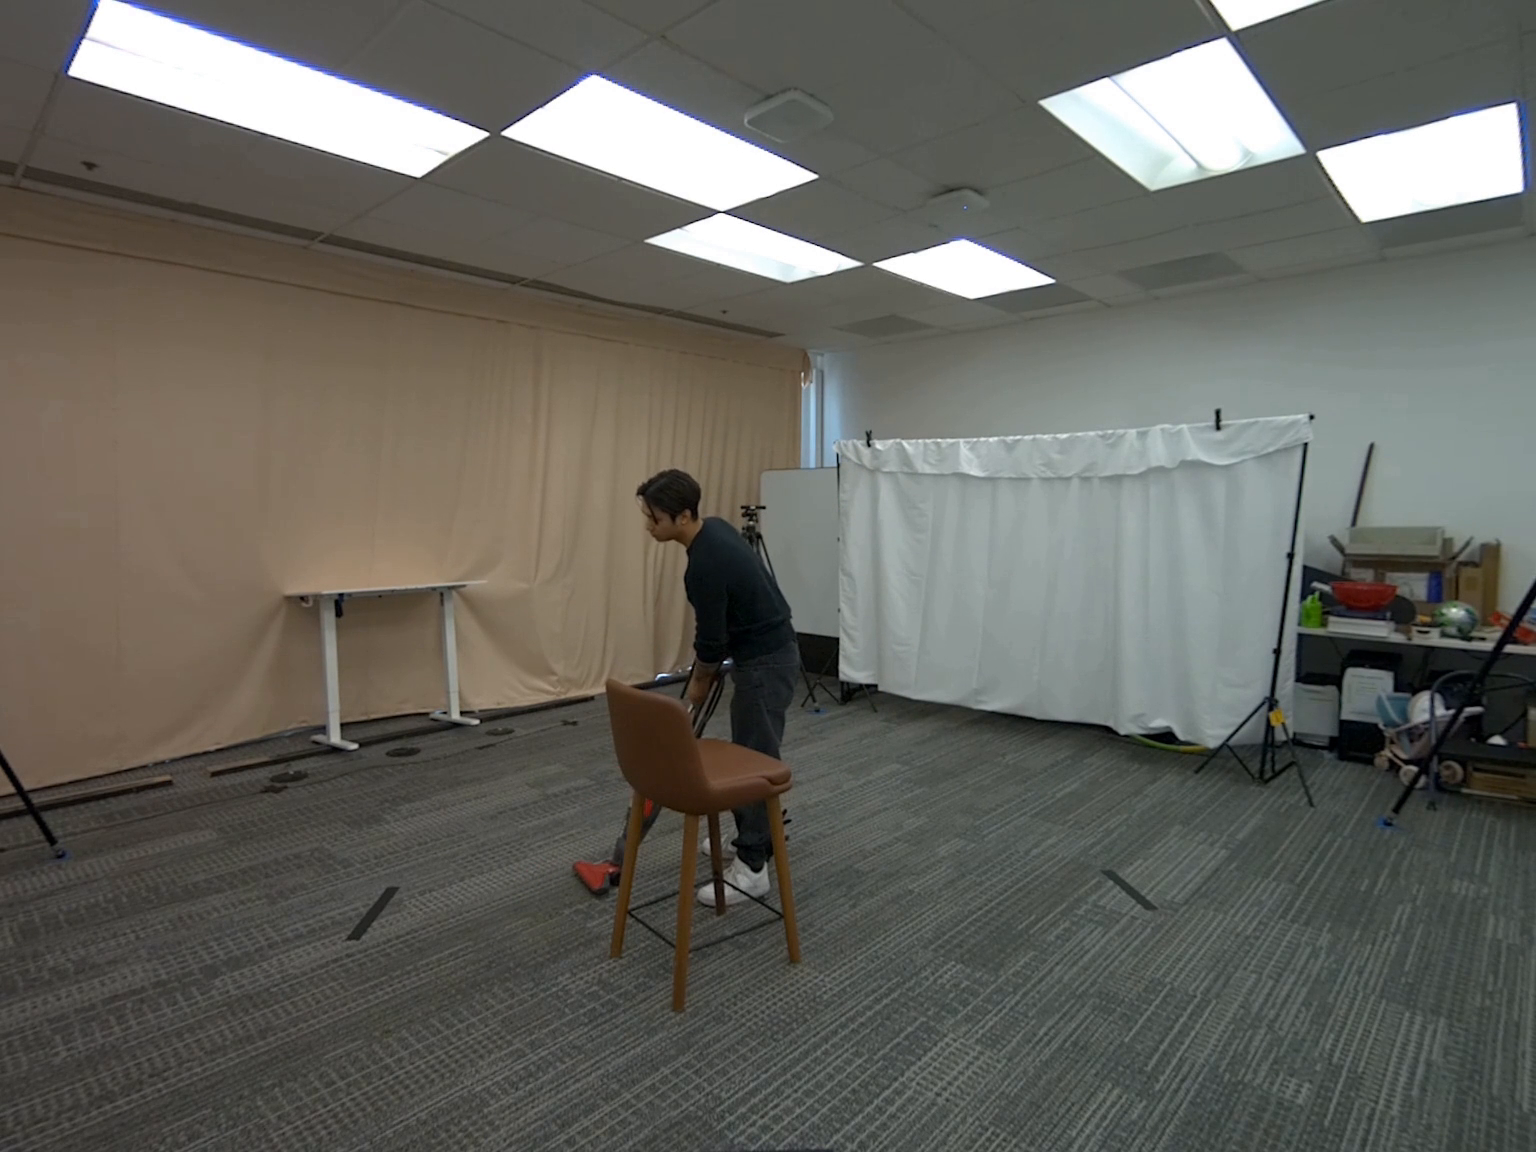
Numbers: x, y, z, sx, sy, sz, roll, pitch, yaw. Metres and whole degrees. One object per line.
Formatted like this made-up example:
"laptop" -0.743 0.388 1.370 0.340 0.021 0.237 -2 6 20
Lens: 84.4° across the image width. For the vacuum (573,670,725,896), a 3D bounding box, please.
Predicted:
"vacuum" -0.377 0.705 3.252 0.140 1.048 0.260 40 -17 -27
